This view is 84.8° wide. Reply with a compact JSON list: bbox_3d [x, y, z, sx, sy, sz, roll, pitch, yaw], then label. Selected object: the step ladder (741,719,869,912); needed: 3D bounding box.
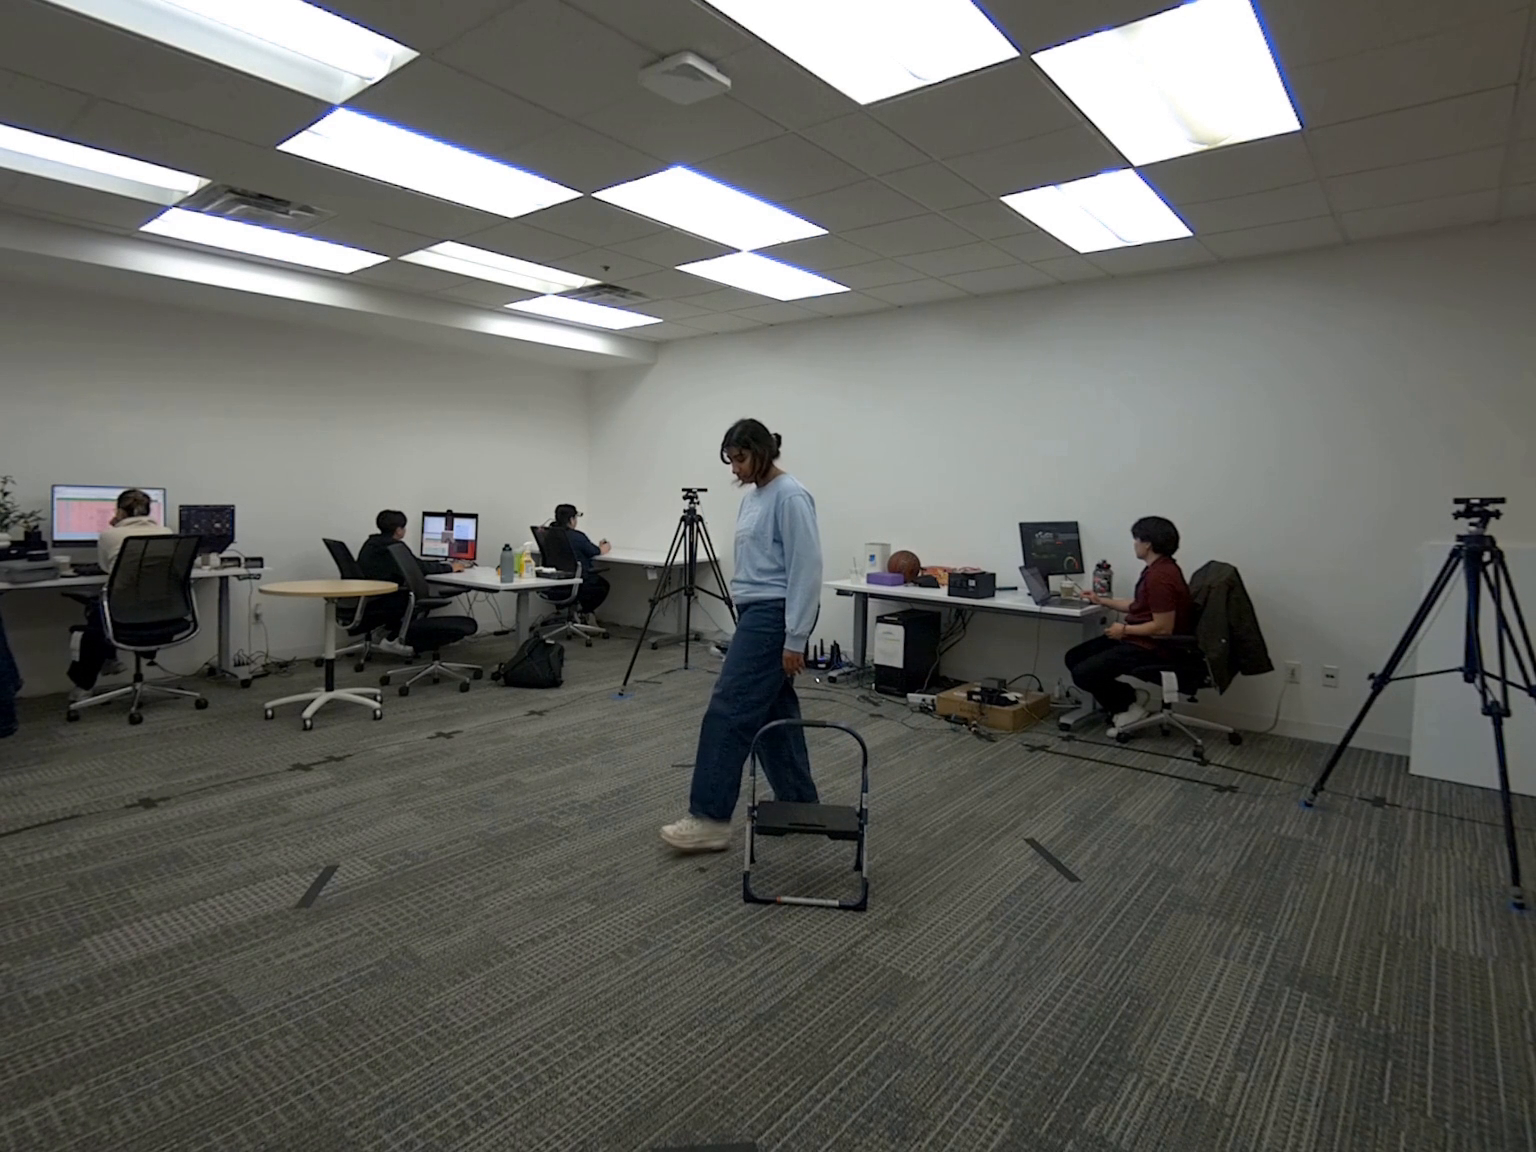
[{"bbox_3d":[0.133,0.787,2.995,0.433,0.605,0.348,1,3,5],"label":"step ladder"}]
